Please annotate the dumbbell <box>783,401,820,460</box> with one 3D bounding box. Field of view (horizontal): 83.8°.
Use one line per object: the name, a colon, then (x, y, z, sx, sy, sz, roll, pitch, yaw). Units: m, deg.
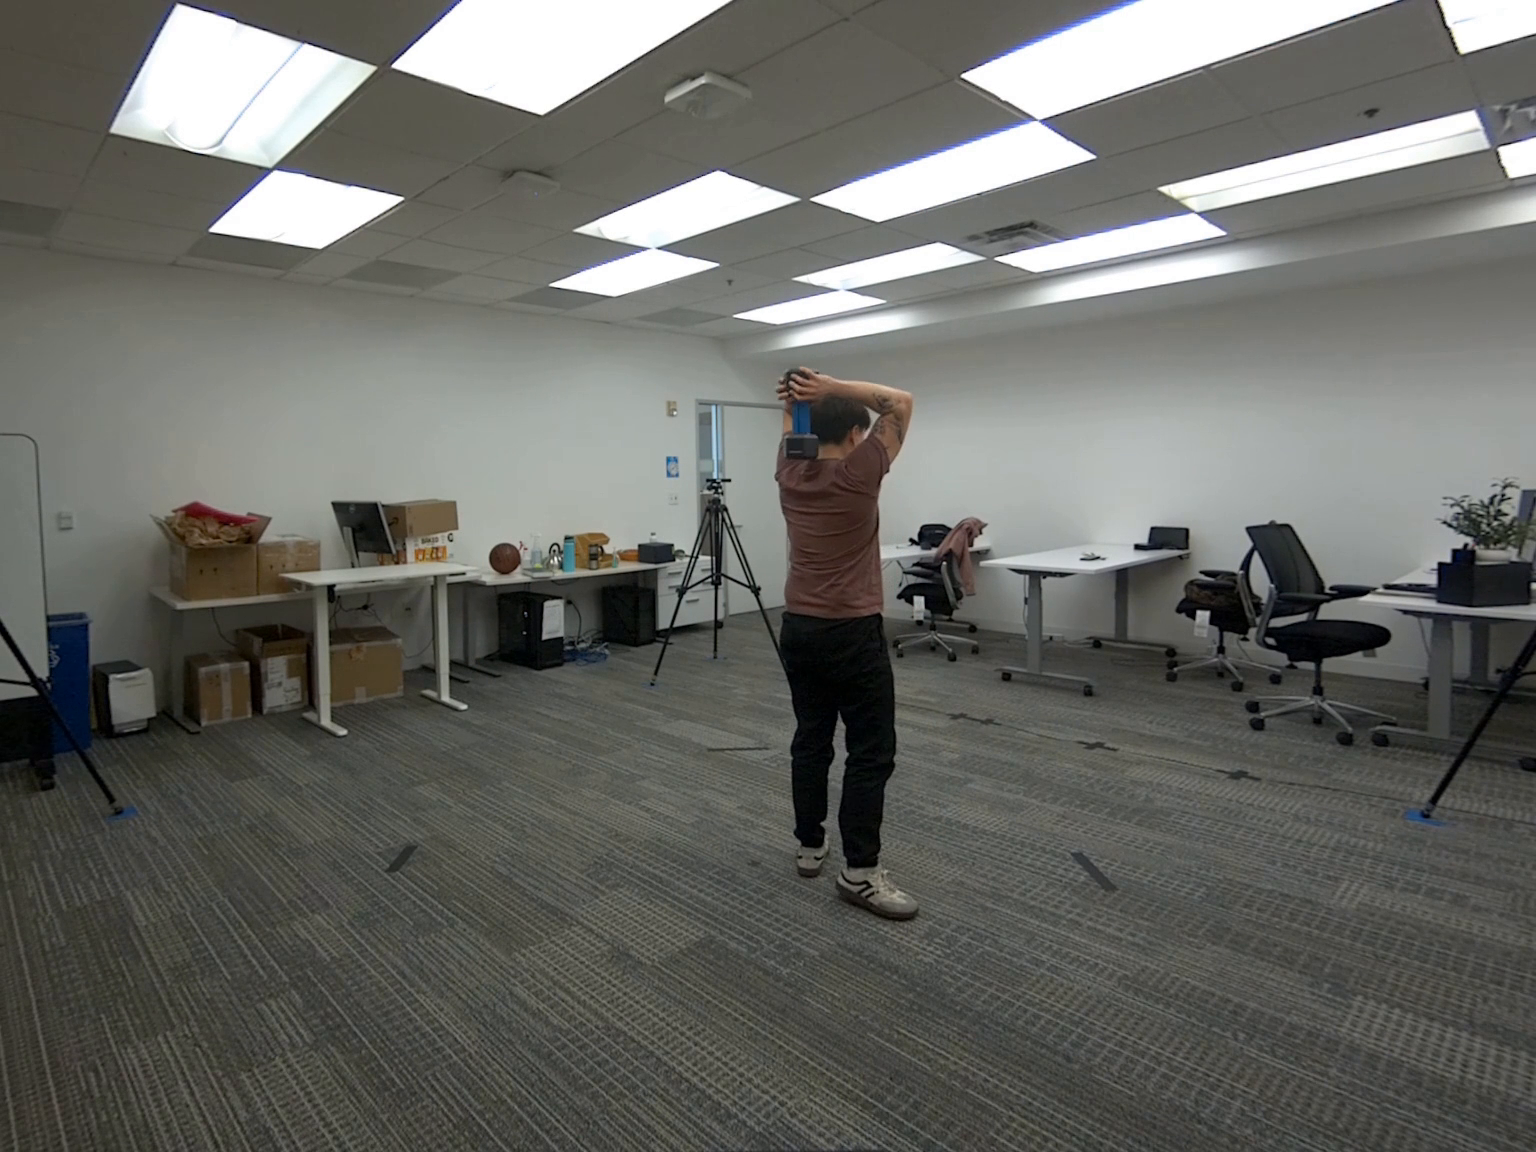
dumbbell: (0.122, -0.532, 2.800, 0.120, 0.294, 0.111, 2, -1, -28)
